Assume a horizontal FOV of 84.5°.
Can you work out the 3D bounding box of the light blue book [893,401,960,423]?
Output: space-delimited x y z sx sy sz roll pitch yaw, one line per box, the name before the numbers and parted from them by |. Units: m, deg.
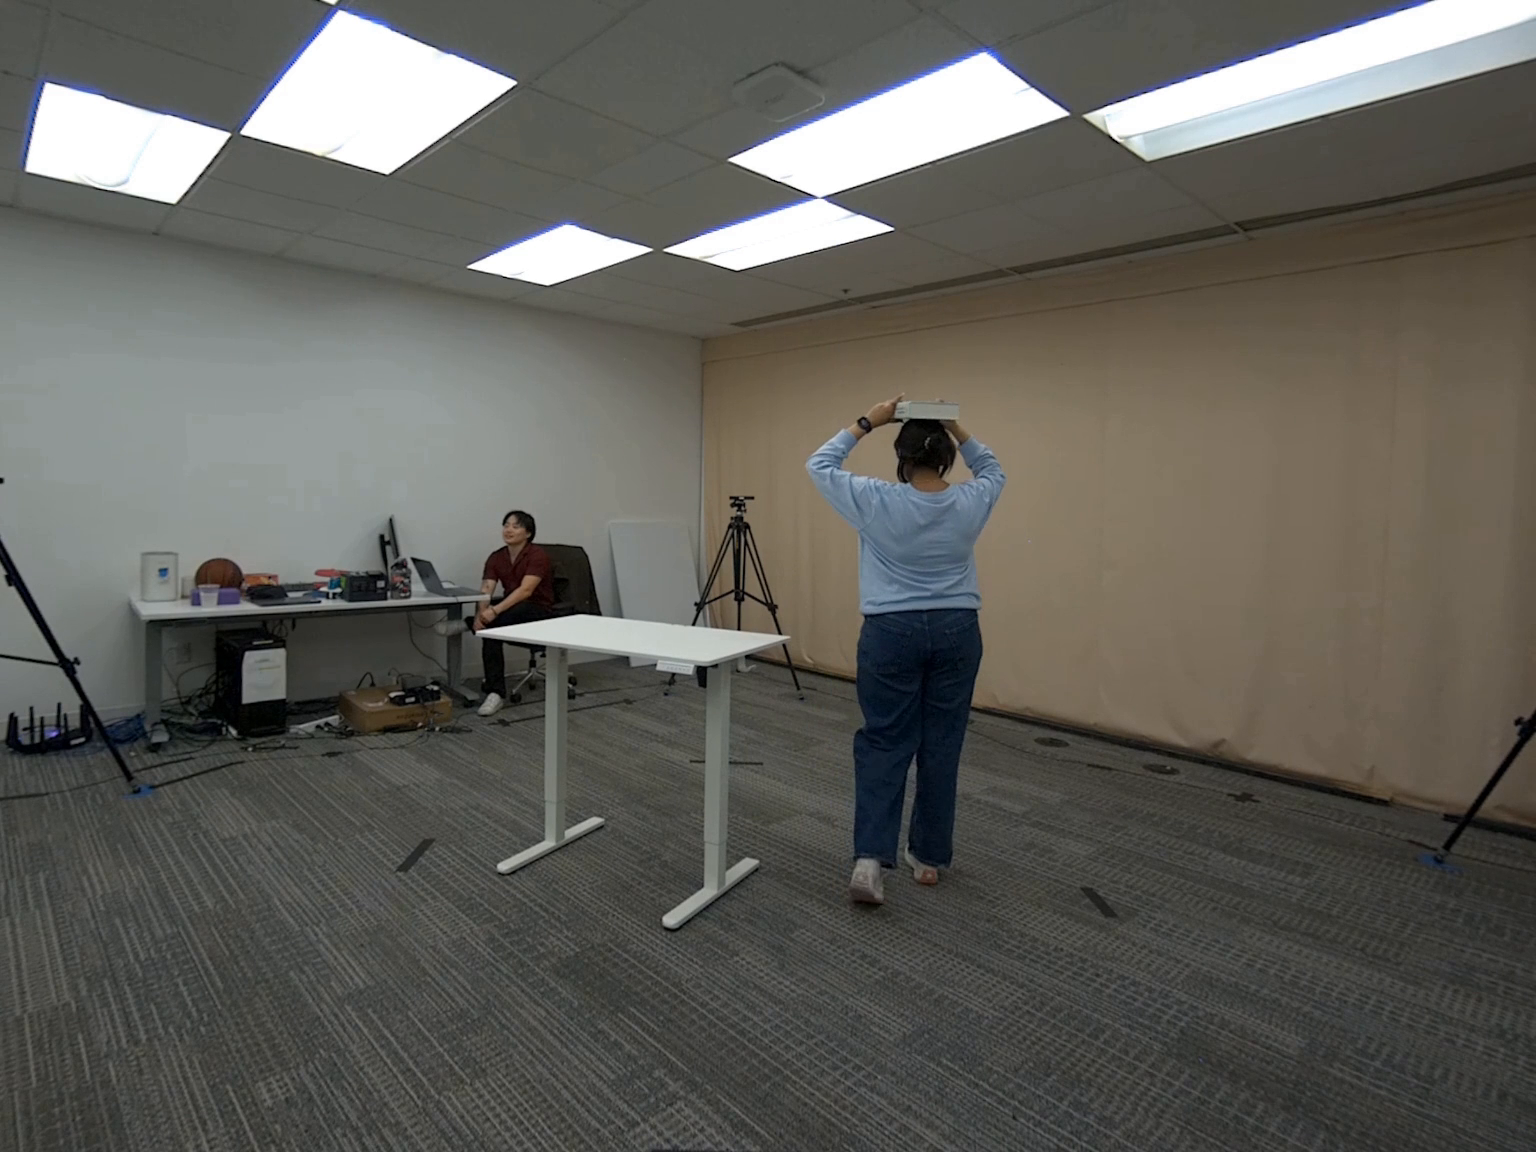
light blue book | 0.549 -0.591 3.030 0.190 0.058 0.264 1 9 -6
